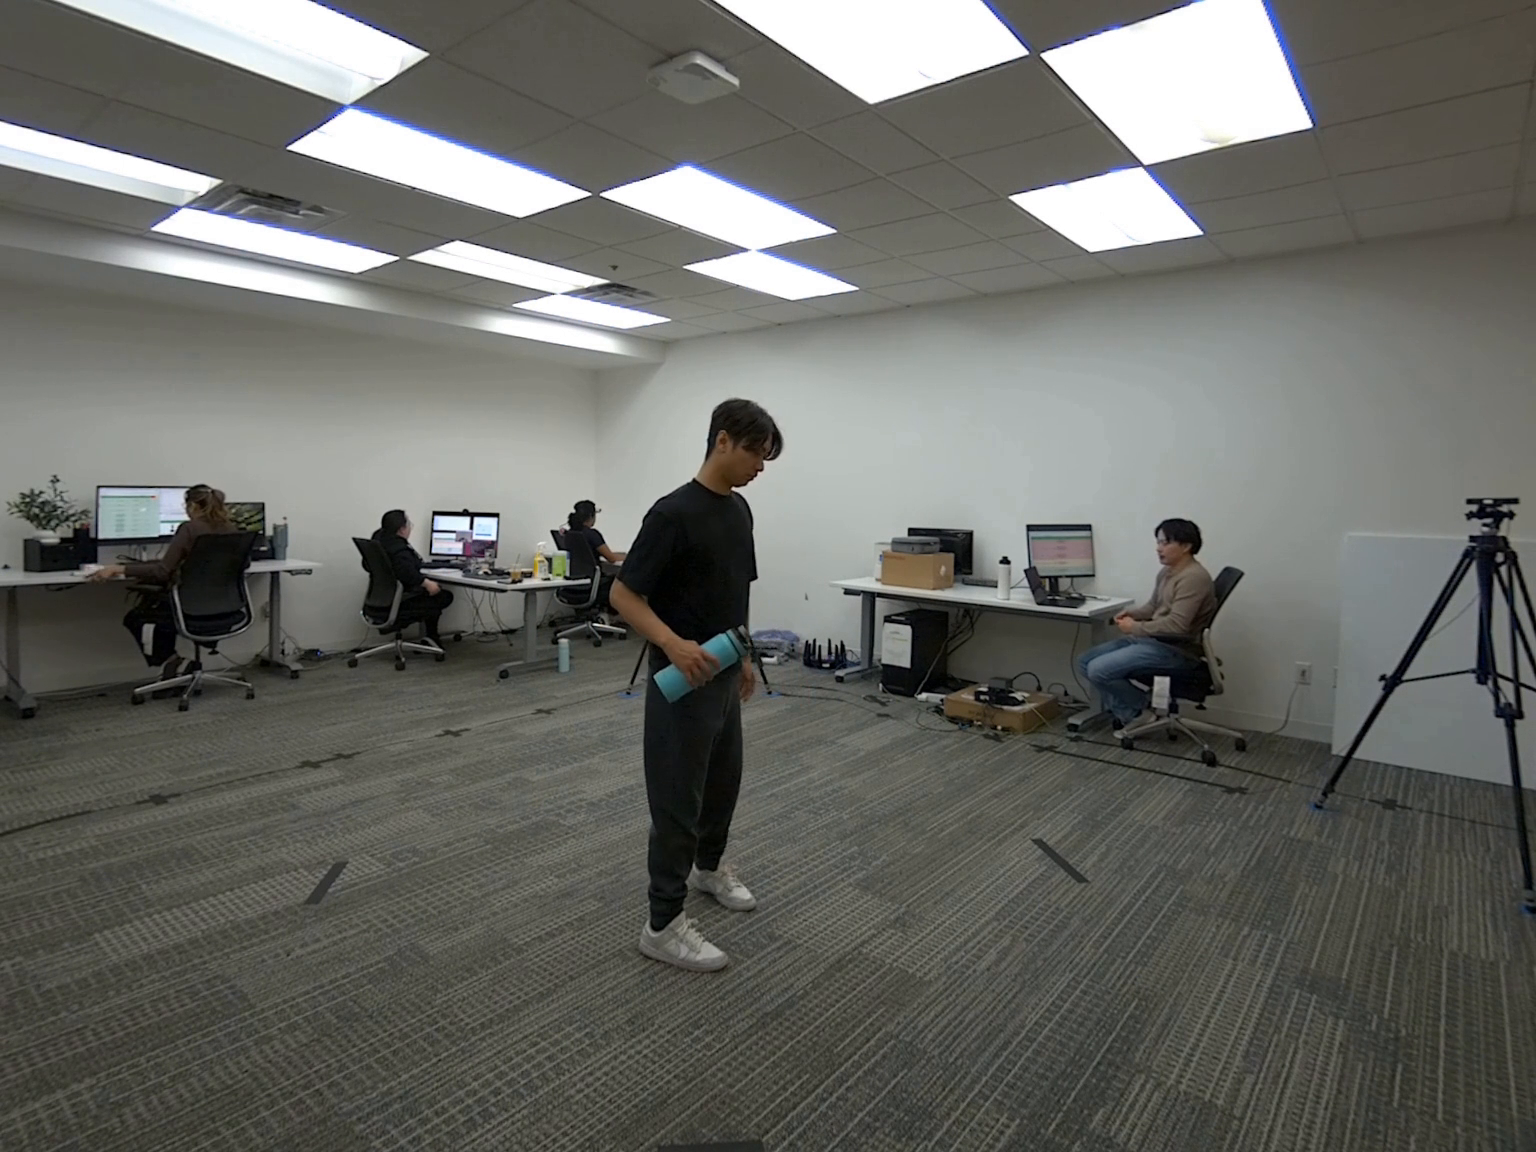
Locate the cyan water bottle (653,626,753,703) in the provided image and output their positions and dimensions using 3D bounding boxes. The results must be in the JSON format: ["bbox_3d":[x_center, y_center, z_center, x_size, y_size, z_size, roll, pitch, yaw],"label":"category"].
[{"bbox_3d":[-0.185,0.242,2.367,0.283,0.091,0.093,-32,8,-5],"label":"cyan water bottle"}]
